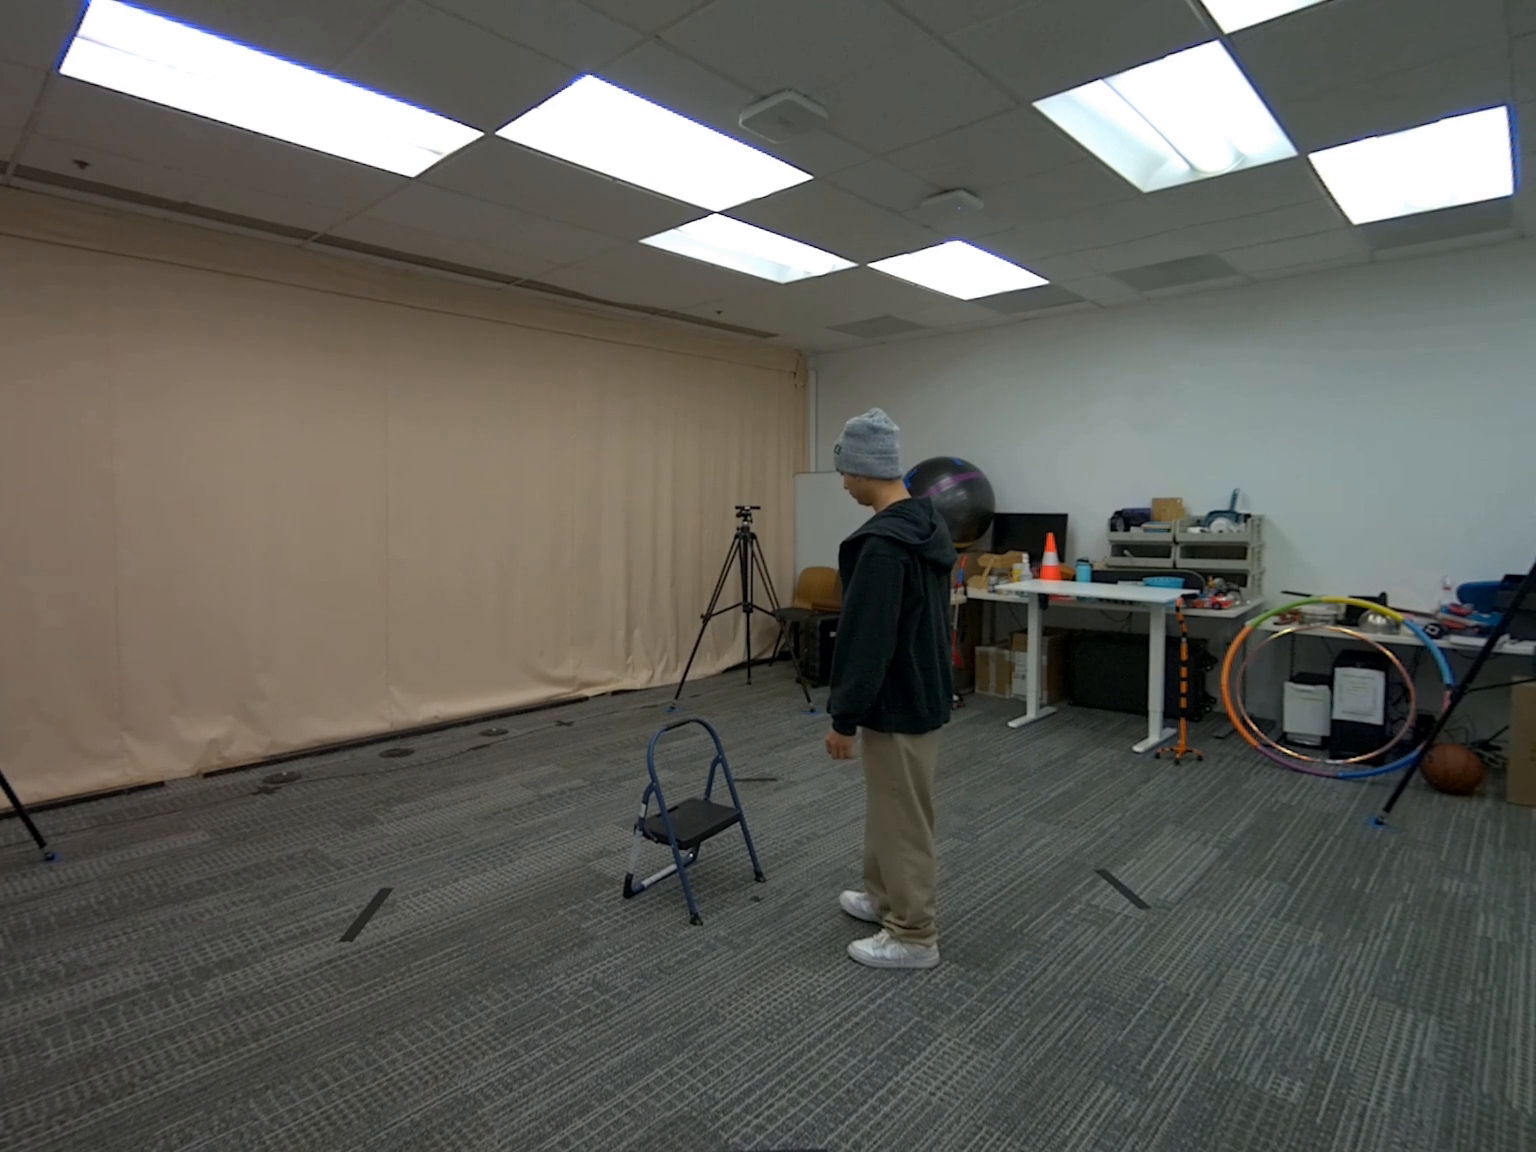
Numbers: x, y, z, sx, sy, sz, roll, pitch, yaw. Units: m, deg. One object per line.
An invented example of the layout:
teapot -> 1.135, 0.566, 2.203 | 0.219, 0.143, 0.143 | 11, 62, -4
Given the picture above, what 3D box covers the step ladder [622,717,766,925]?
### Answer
step ladder -> -0.264, 0.835, 3.049 | 0.360, 0.605, 0.418 | 2, 4, 33
